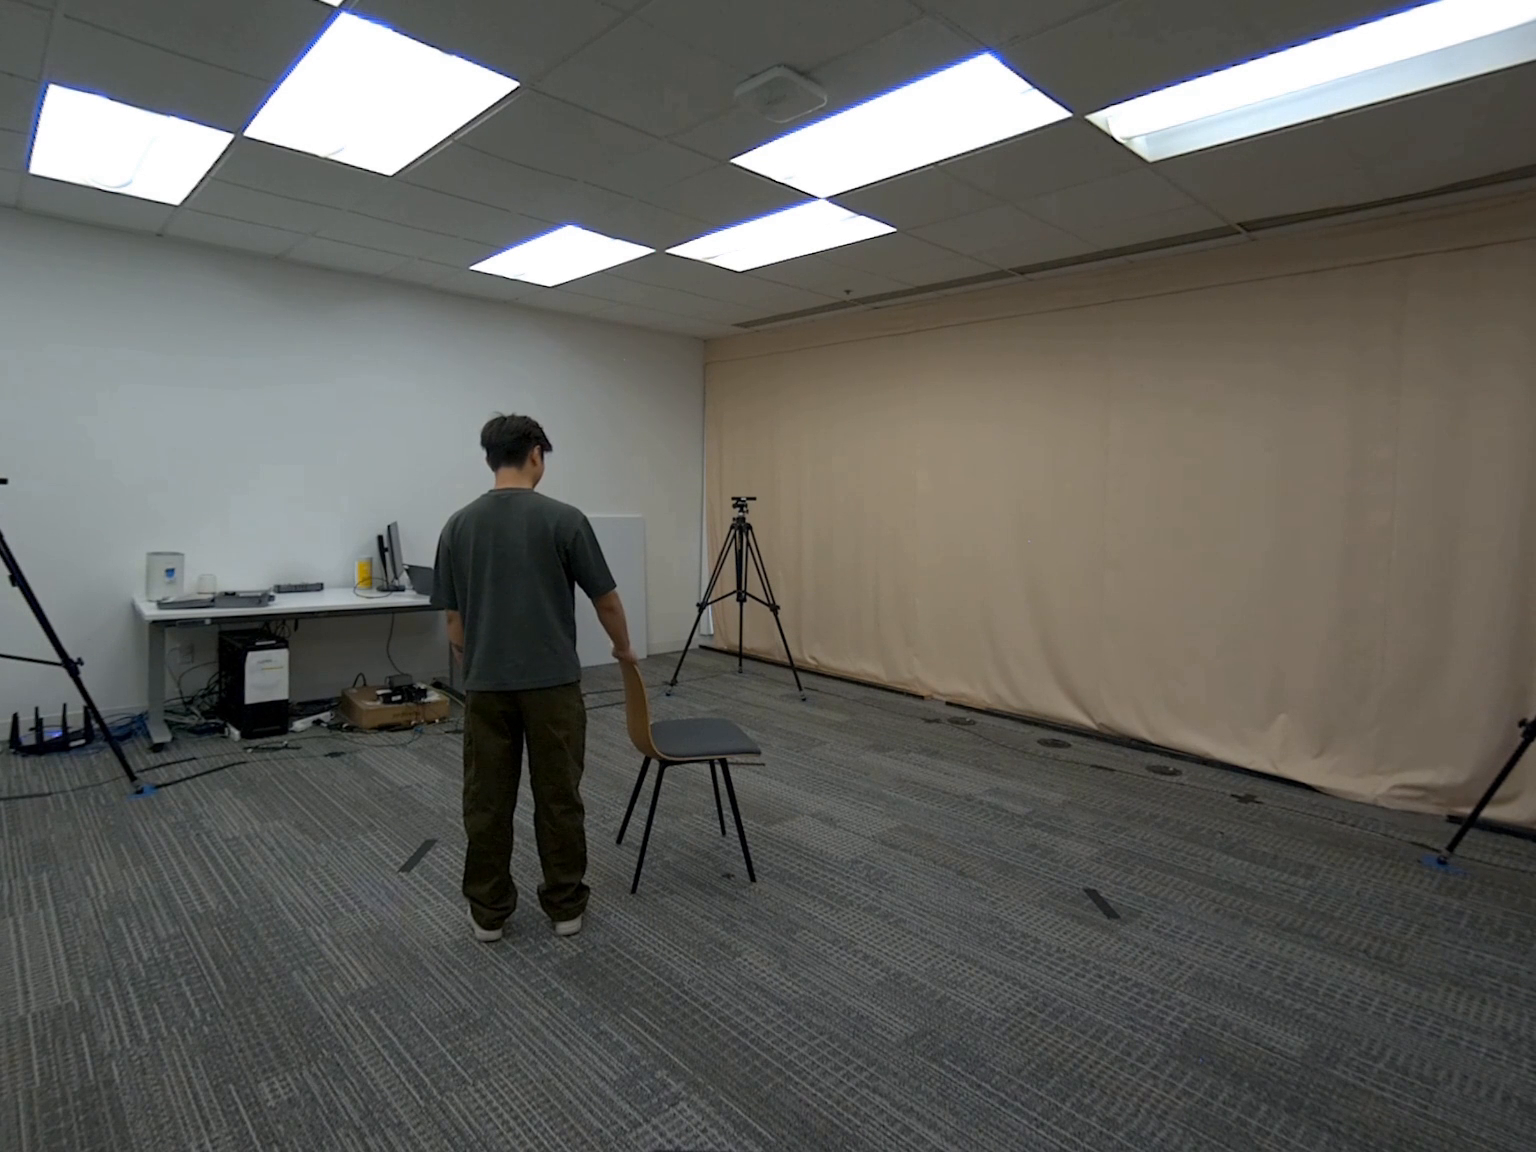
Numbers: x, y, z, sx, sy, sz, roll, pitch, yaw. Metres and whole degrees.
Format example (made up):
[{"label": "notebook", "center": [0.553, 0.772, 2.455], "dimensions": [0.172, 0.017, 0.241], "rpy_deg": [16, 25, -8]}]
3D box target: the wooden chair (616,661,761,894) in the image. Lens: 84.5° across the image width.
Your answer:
[{"label": "wooden chair", "center": [-0.314, 0.669, 3.185], "dimensions": [0.517, 0.875, 0.485], "rpy_deg": [-4, 4, -16]}]
